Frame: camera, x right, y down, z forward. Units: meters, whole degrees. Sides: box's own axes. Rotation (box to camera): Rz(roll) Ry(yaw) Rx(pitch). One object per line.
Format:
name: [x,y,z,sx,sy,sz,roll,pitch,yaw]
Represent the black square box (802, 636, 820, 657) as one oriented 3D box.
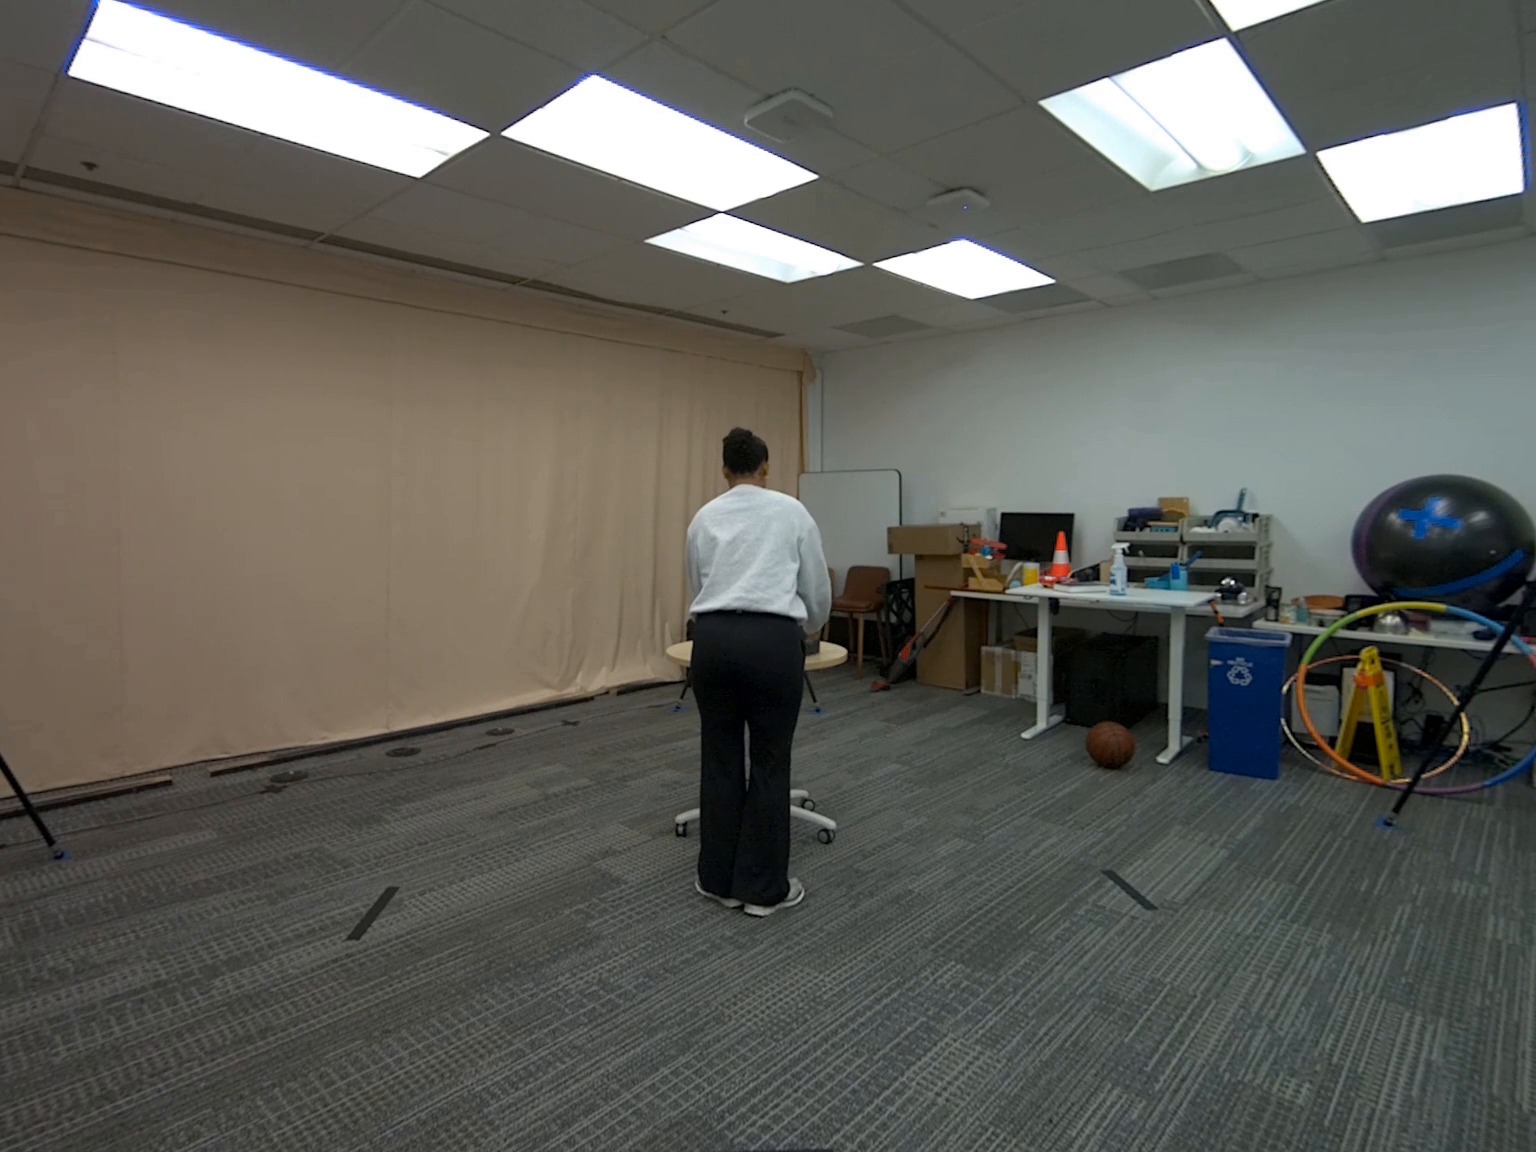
black square box: [0.063,0.236,3.476,0.235,0.155,0.210,4,4,42]
